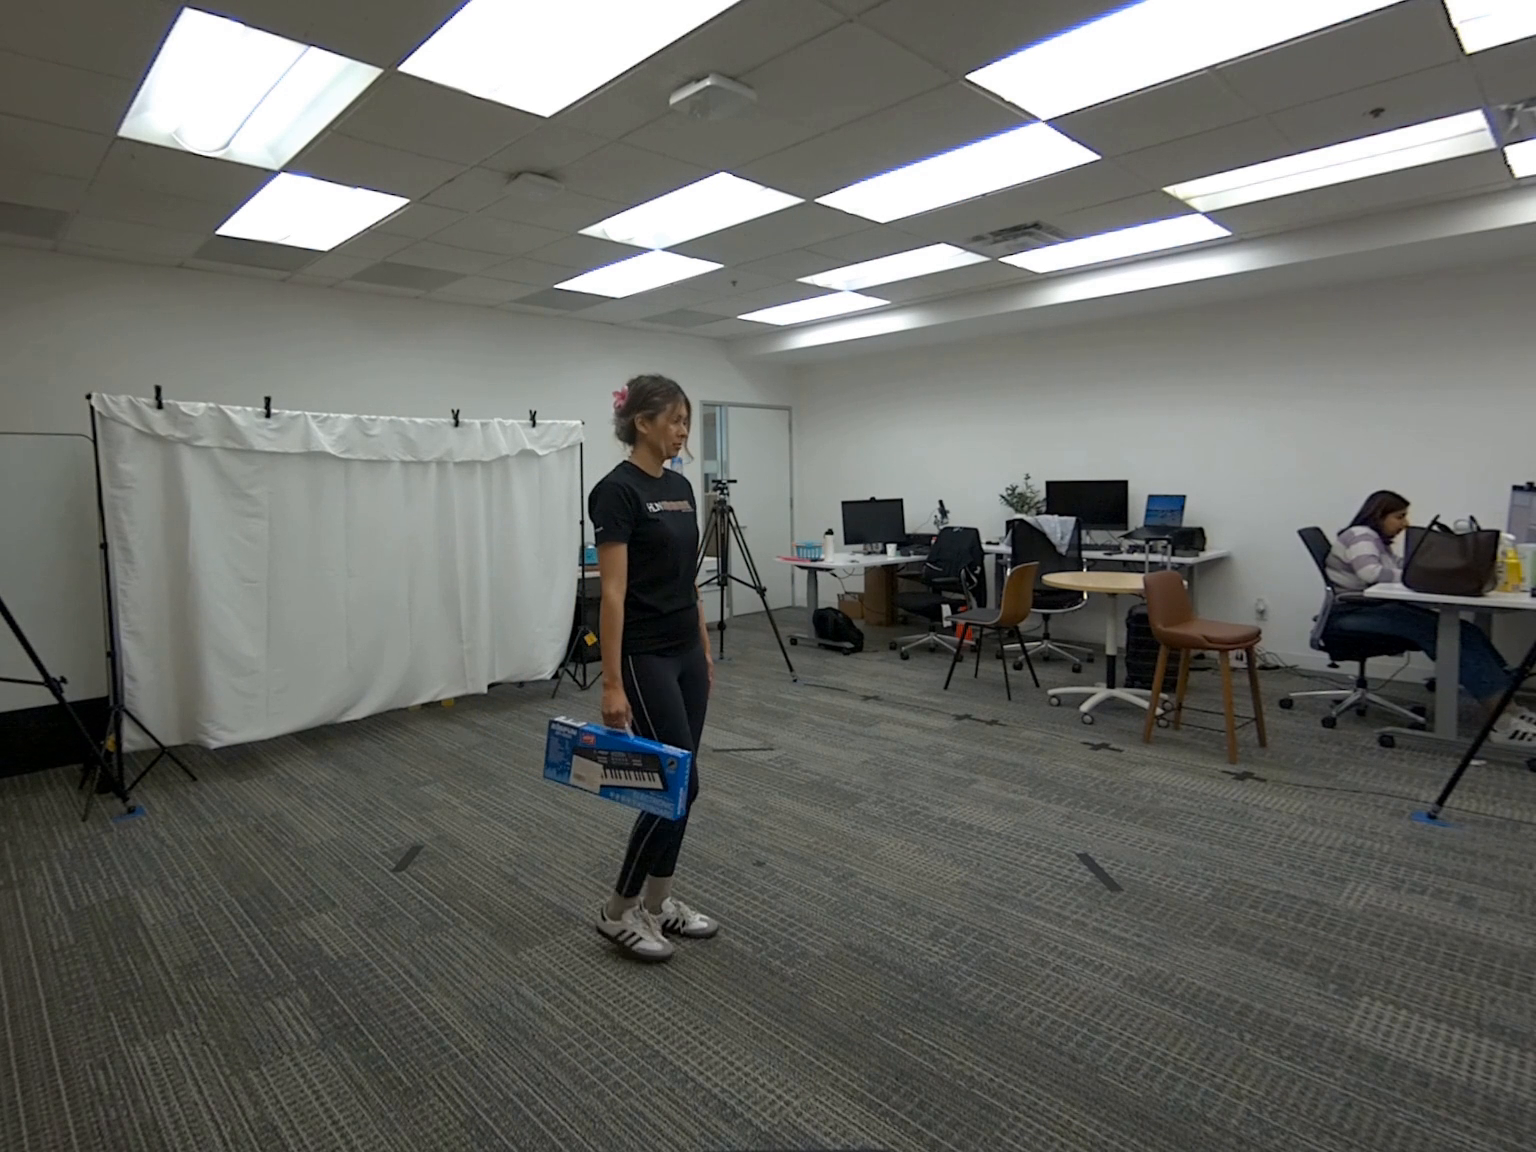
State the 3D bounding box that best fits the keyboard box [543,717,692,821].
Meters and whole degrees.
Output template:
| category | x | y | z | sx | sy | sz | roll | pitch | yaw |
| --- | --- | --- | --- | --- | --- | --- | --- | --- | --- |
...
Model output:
| category | x | y | z | sx | sy | sz | roll | pitch | yaw |
| --- | --- | --- | --- | --- | --- | --- | --- | --- | --- |
| keyboard box | -0.415 | 0.517 | 2.343 | 0.448 | 0.175 | 0.058 | 8 | 4 | 26 |
